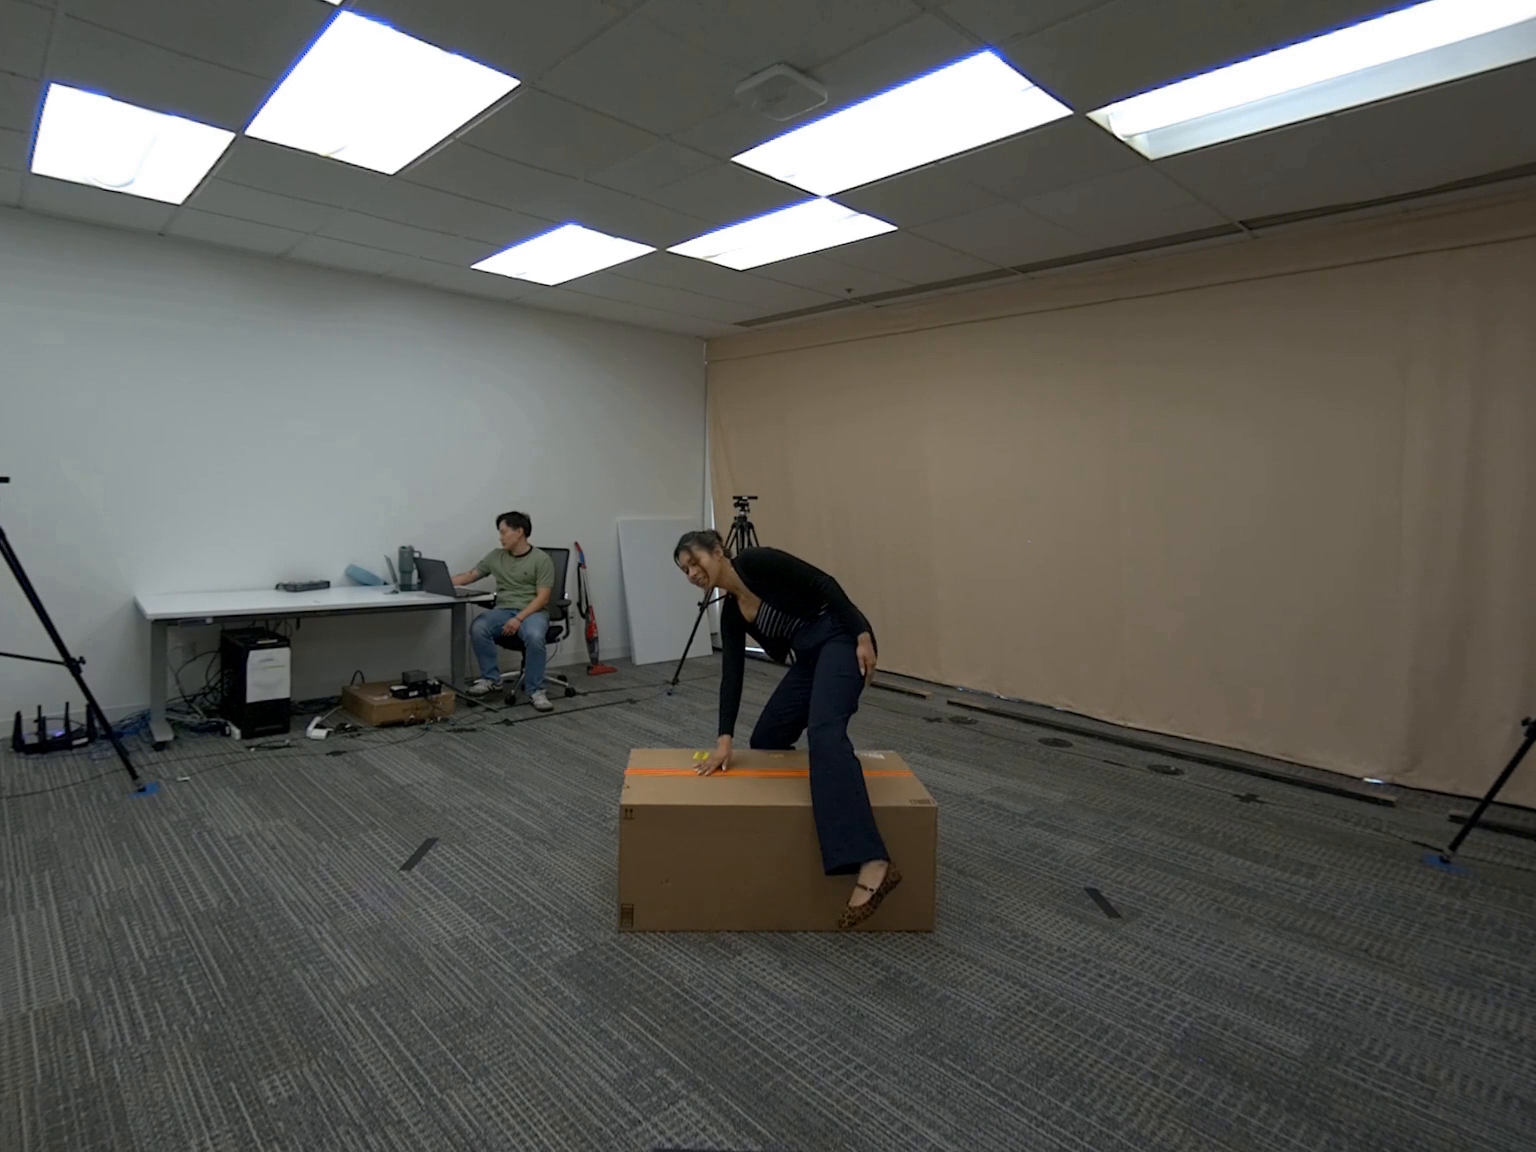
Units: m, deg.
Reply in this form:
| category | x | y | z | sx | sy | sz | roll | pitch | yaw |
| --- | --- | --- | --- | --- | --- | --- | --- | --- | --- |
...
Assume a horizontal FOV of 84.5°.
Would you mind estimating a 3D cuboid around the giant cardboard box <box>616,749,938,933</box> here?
| category | x | y | z | sx | sy | sz | roll | pitch | yaw |
| --- | --- | --- | --- | --- | --- | --- | --- | --- | --- |
| giant cardboard box | 0.001 | 0.900 | 2.966 | 1.023 | 0.425 | 0.581 | 1 | 4 | -3 |
